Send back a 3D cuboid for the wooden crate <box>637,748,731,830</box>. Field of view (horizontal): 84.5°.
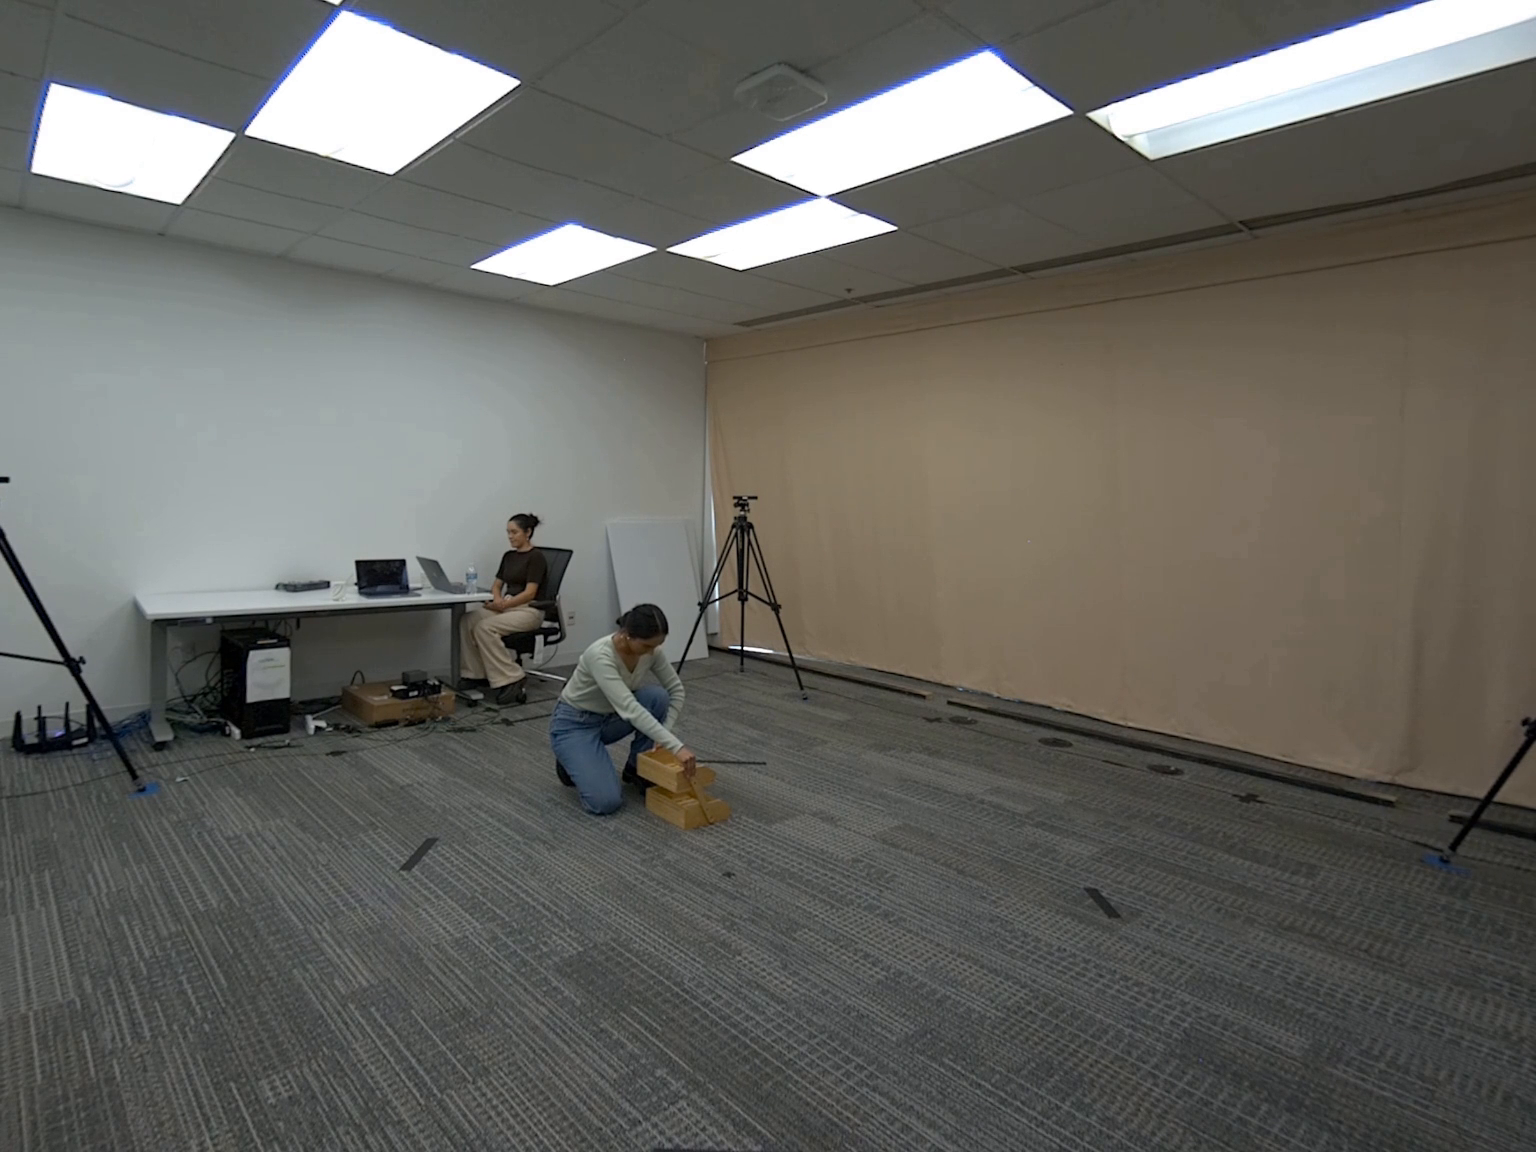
[{"bbox_3d":[-0.374,0.914,3.685,0.295,0.272,0.333,-3,7,-41],"label":"wooden crate"}]
